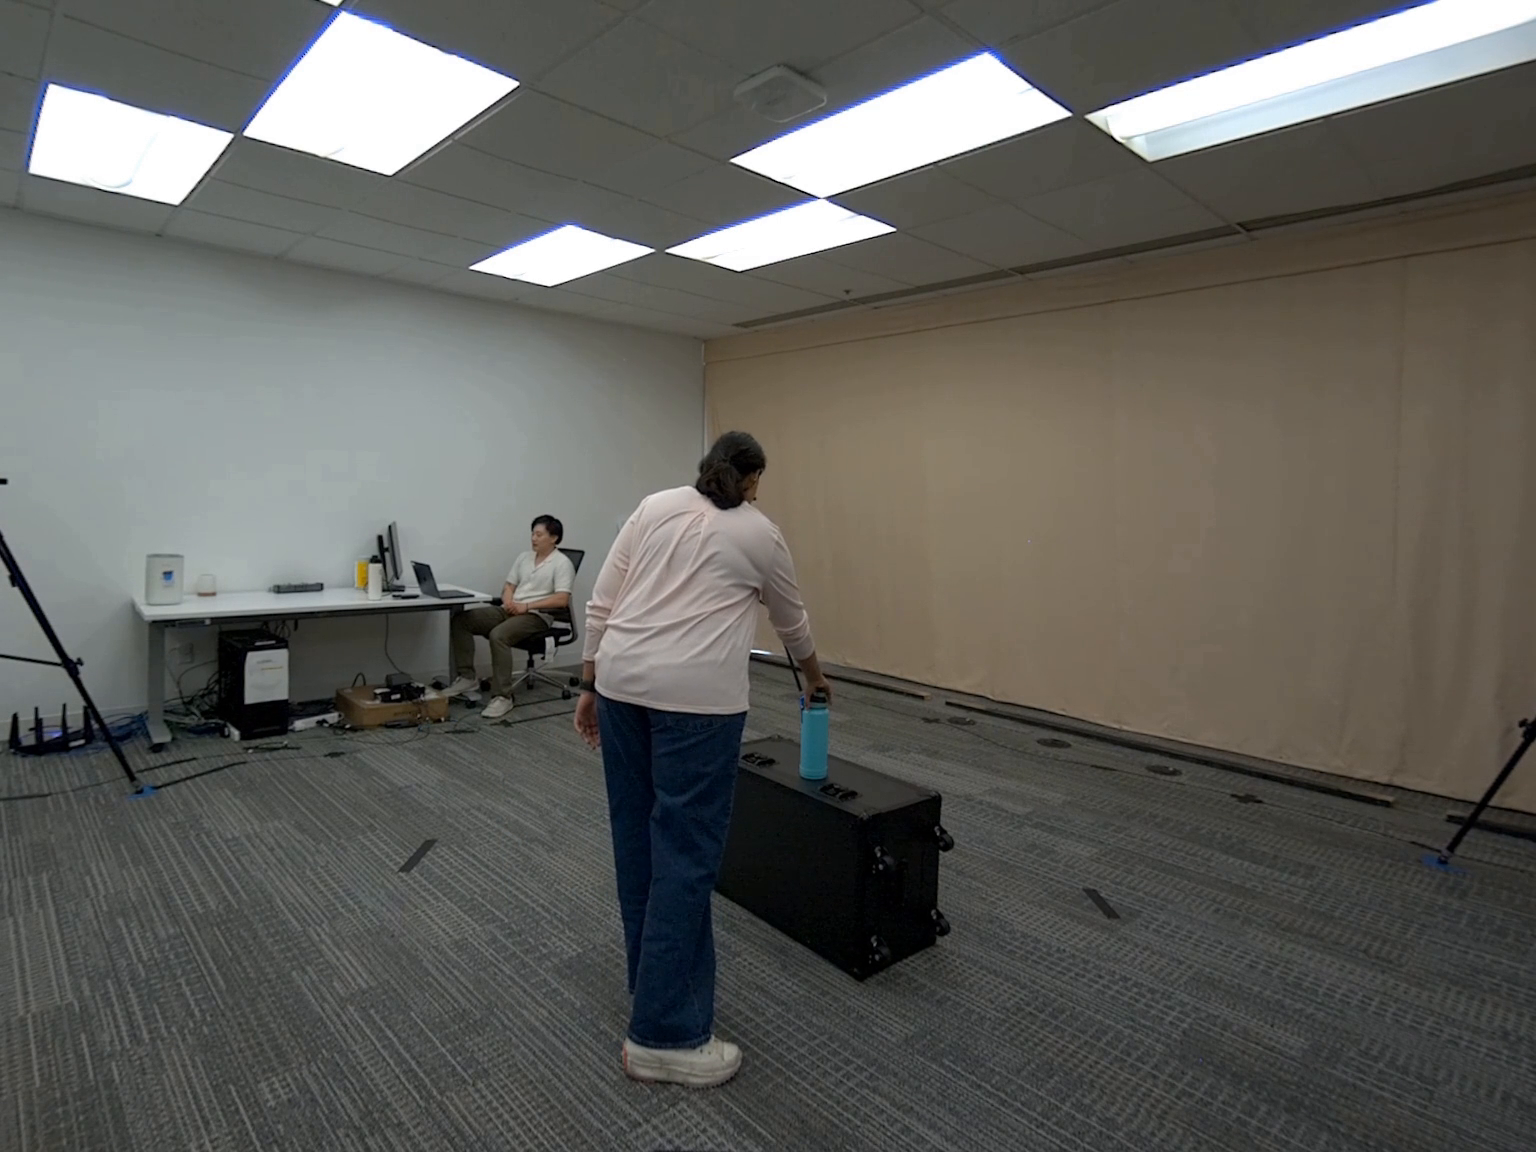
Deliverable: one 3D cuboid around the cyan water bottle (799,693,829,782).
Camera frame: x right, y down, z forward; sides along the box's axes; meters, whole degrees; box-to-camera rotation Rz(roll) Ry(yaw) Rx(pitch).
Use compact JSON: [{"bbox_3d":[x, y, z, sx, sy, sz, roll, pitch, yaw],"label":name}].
[{"bbox_3d":[0.148,0.525,2.772,0.092,0.282,0.093,2,5,-2],"label":"cyan water bottle"}]
